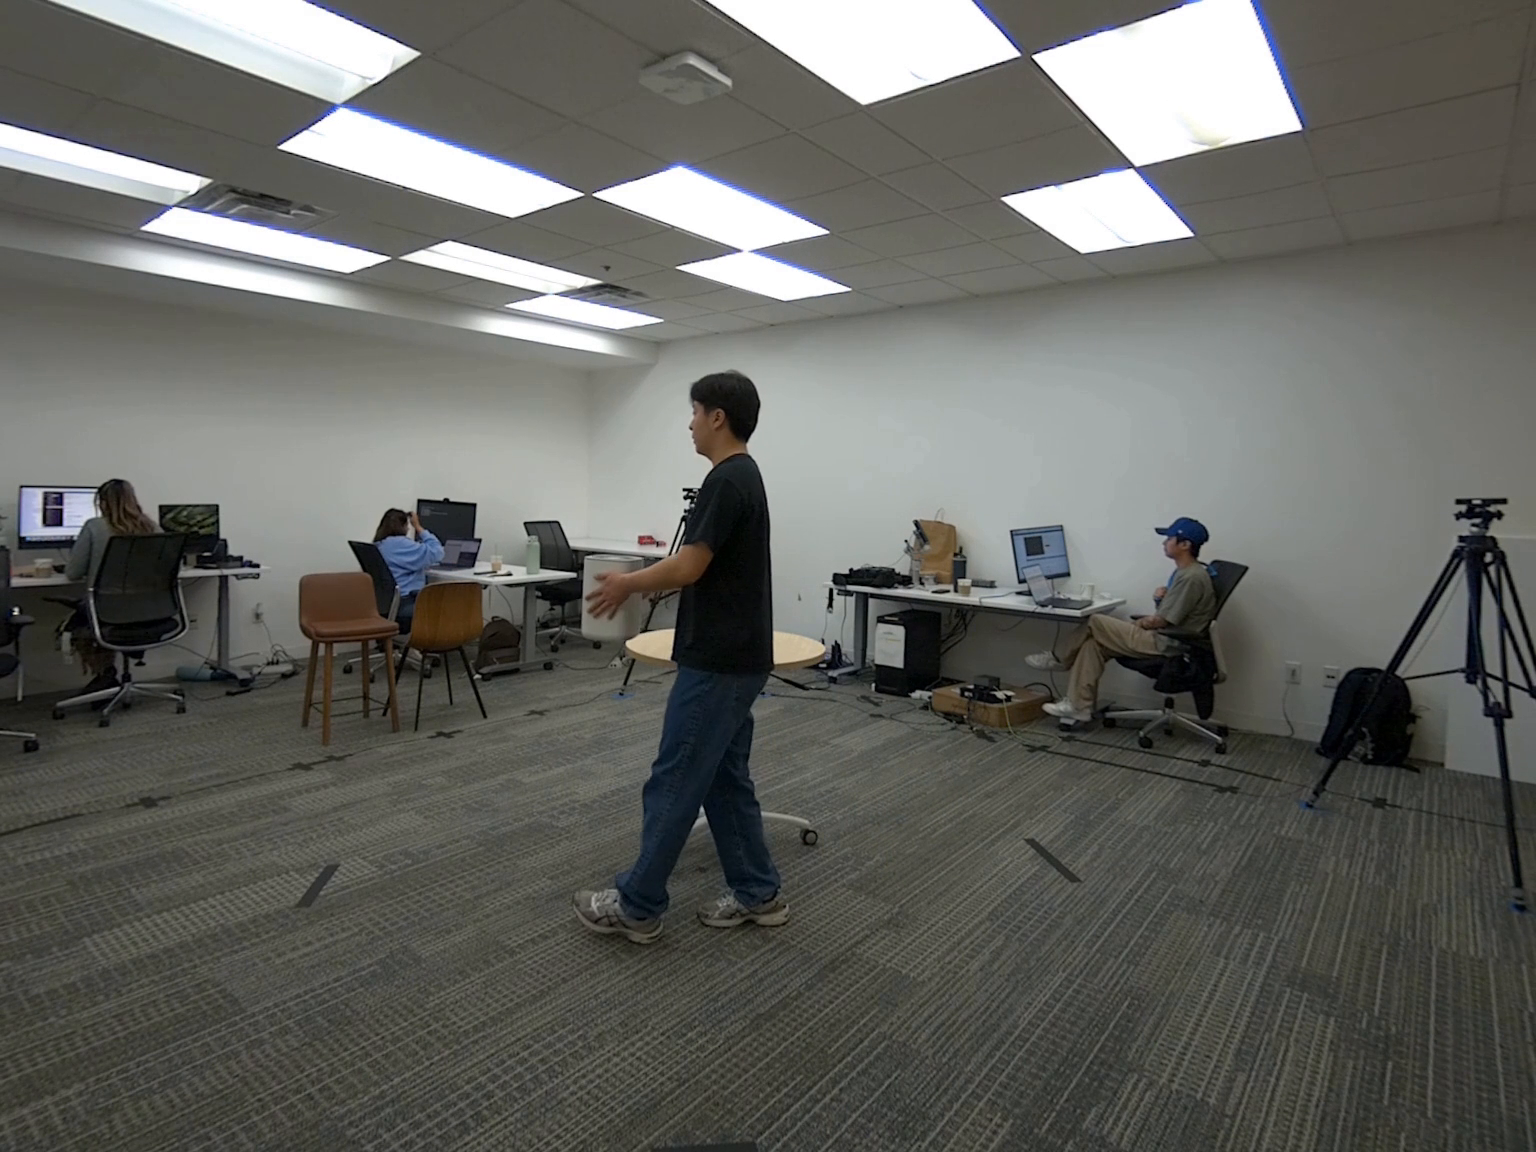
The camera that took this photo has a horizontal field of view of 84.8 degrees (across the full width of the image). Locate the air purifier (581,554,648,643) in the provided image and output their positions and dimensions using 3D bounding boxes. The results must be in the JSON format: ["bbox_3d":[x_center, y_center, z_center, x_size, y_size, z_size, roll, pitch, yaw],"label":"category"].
[{"bbox_3d":[-0.515,0.067,2.771,0.174,0.265,0.169,3,3,14],"label":"air purifier"}]
